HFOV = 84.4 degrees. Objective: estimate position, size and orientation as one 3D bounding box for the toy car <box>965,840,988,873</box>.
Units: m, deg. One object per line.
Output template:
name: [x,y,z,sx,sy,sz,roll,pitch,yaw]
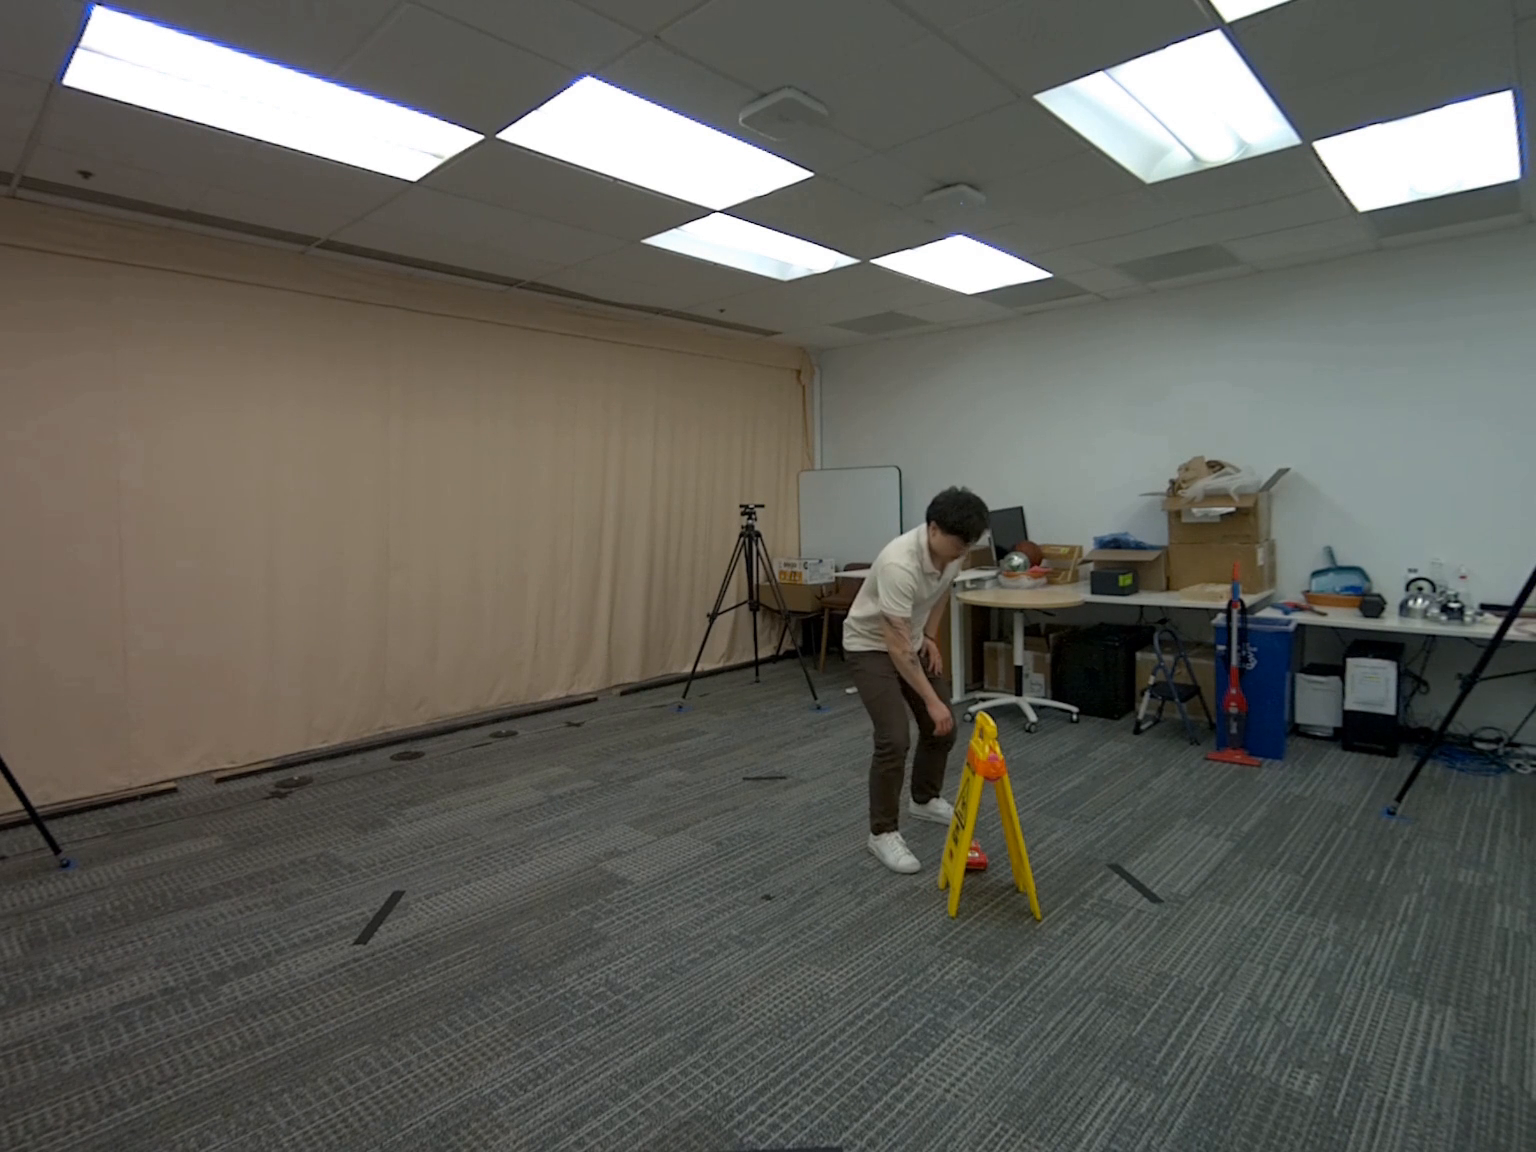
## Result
toy car: [0.773,1.069,3.240,0.131,0.083,0.252,0,-7,4]
